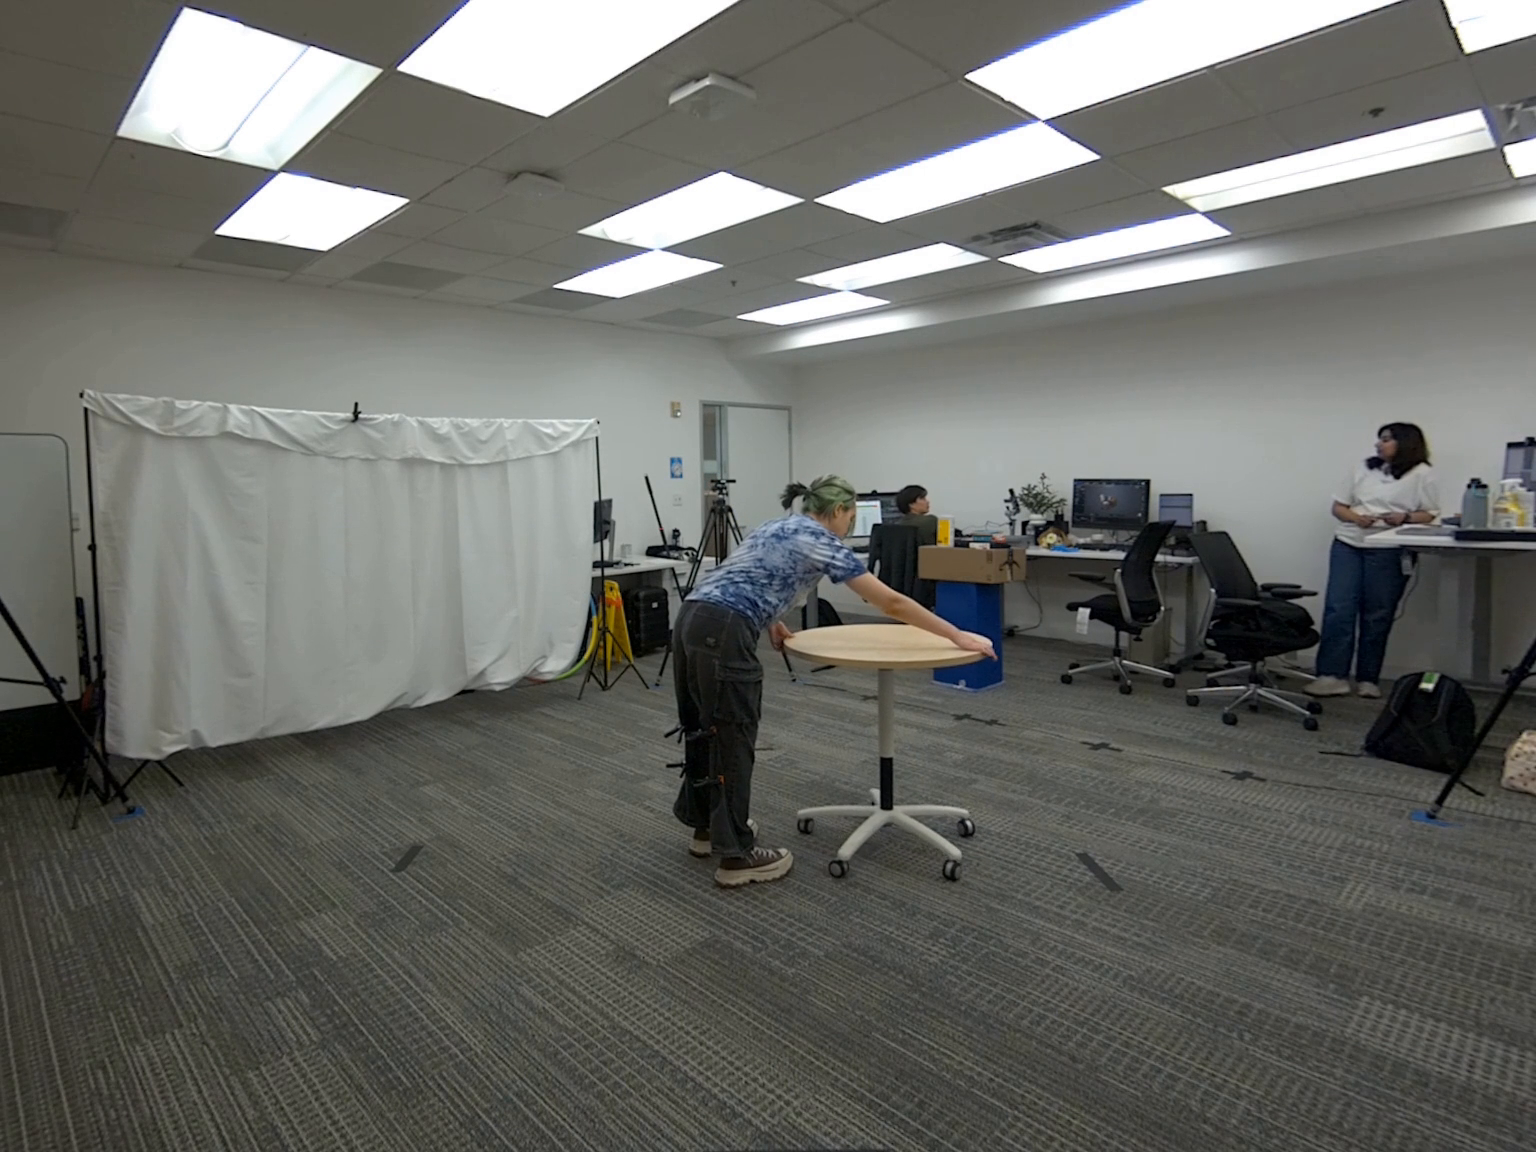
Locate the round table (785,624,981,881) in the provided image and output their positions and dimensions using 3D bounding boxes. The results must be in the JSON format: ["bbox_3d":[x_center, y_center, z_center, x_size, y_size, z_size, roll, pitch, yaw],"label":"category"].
[{"bbox_3d":[0.445,0.635,3.239,0.763,0.791,0.768,-1,5,-2],"label":"round table"}]
